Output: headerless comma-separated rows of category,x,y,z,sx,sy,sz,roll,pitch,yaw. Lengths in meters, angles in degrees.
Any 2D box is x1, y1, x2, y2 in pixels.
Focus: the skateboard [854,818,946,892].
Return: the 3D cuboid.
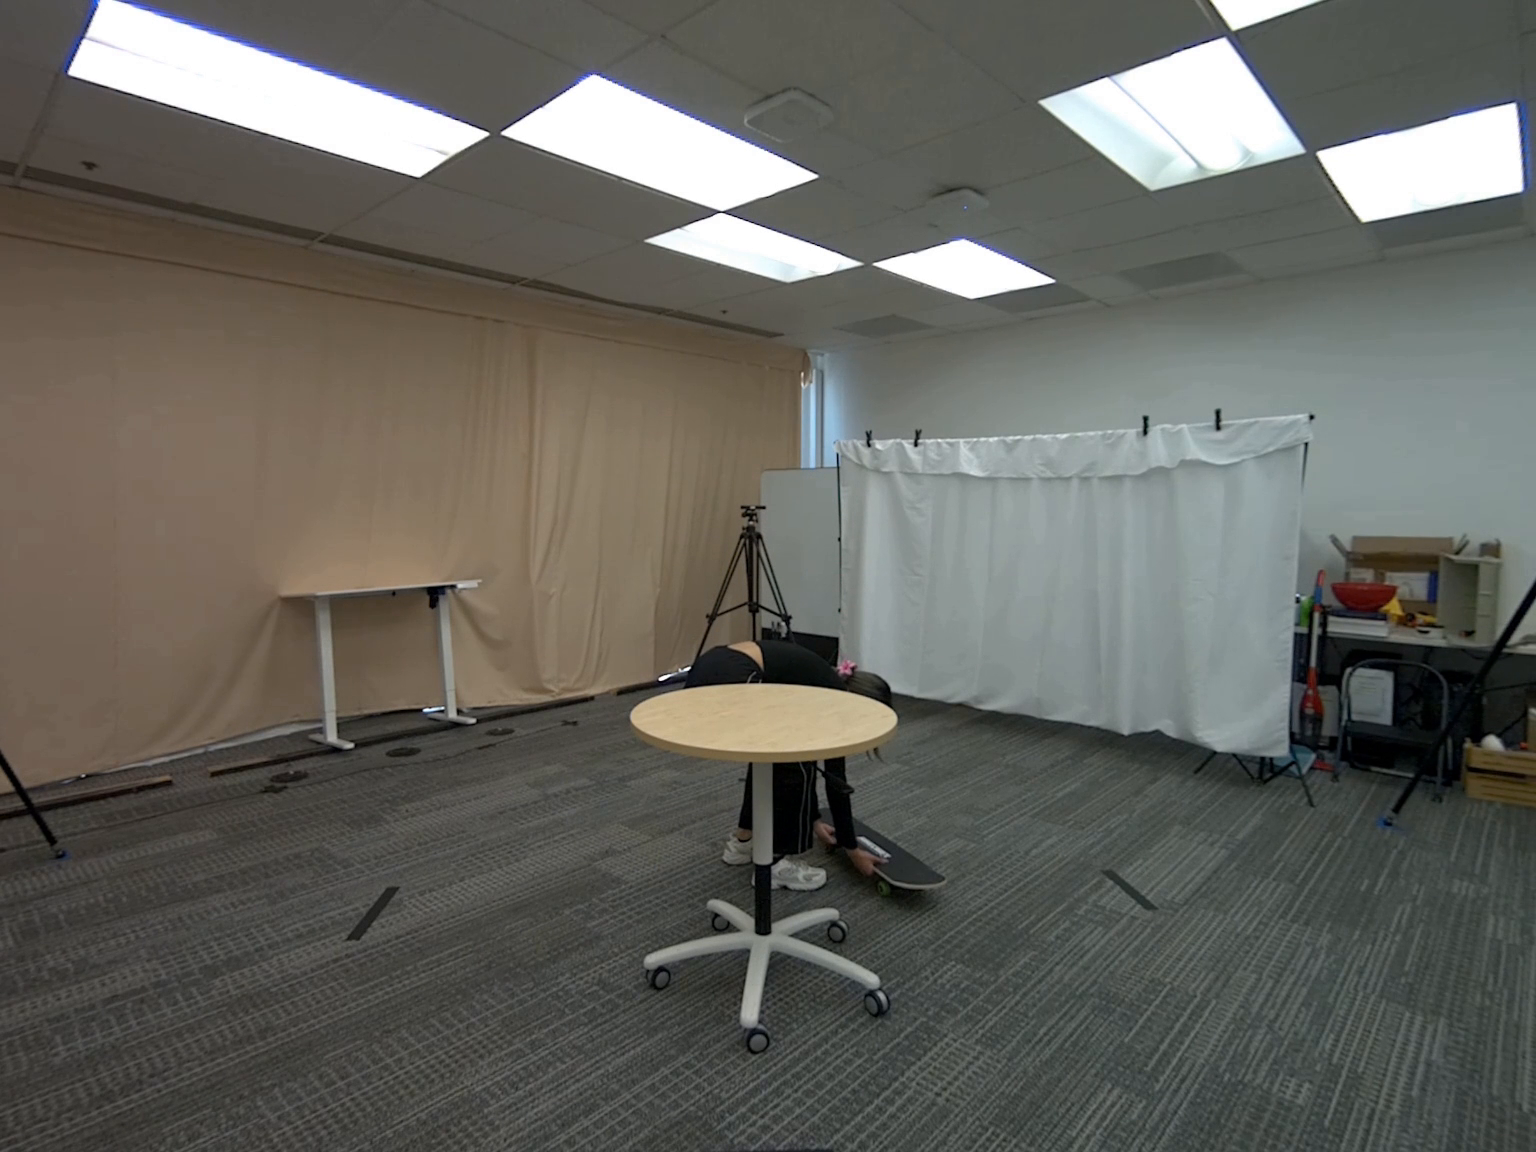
skateboard,0.396,1.058,3.210,0.189,0.110,0.805,-2,5,-24
